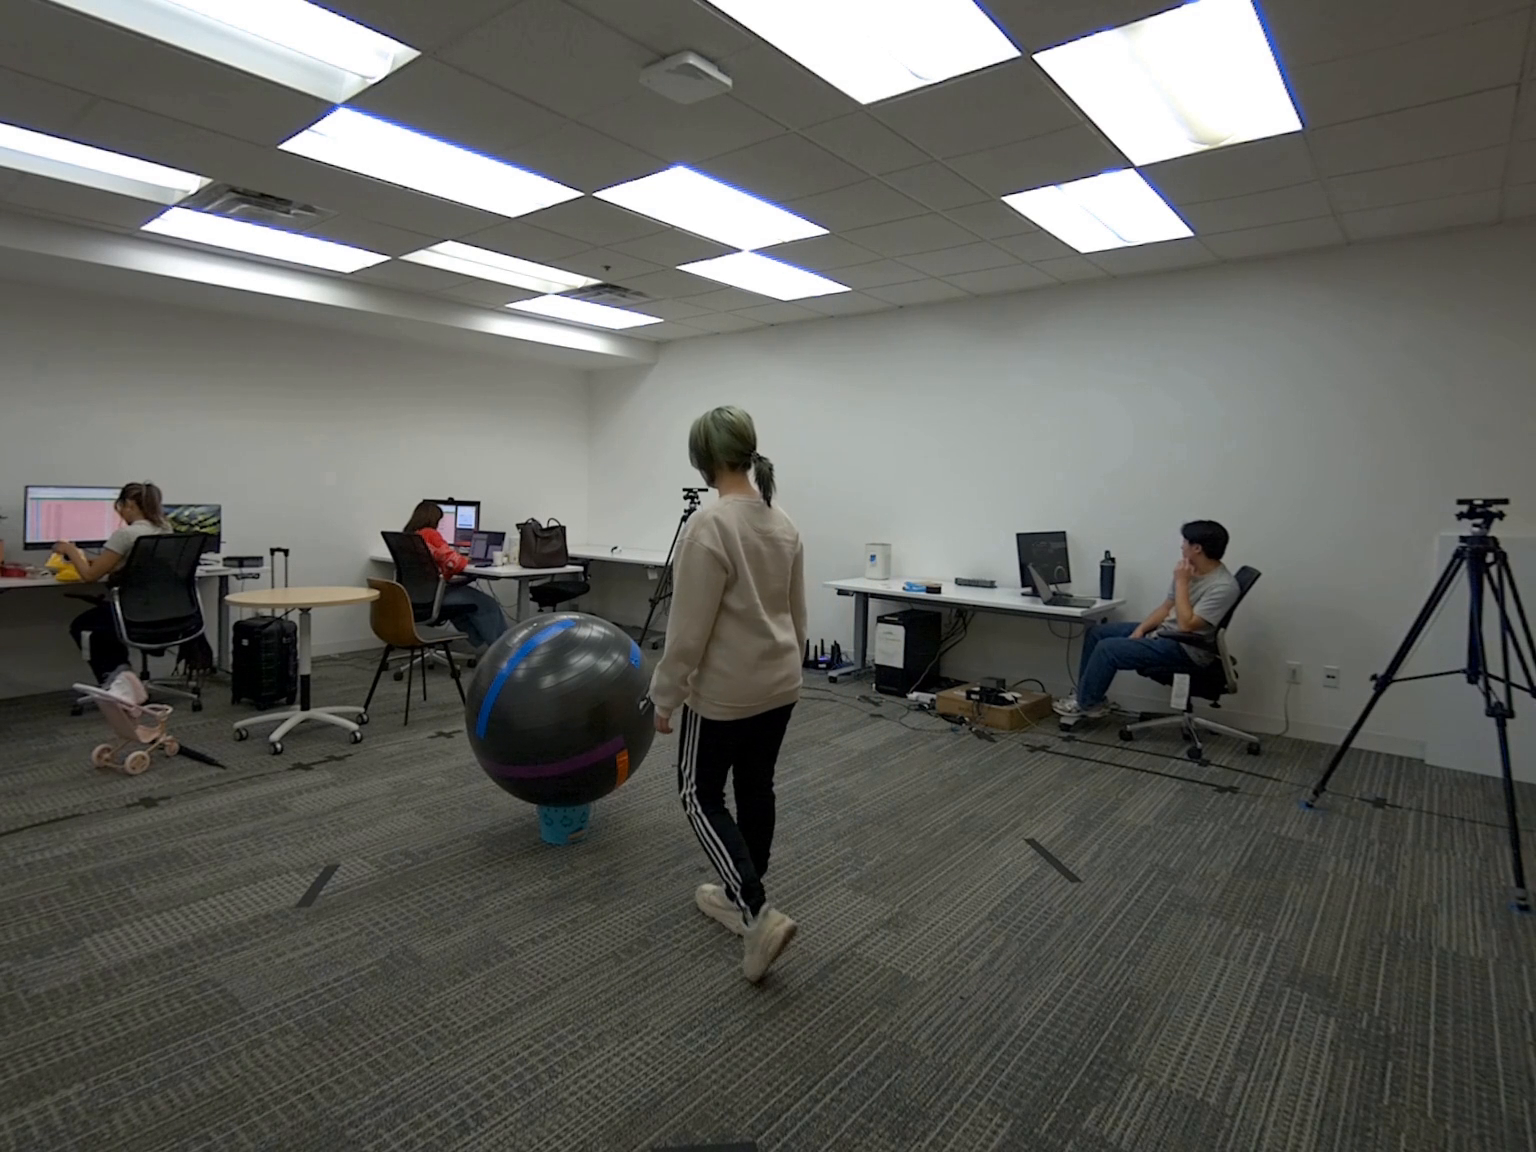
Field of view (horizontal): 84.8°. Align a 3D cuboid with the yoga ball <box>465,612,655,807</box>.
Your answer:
[{"bbox_3d":[-0.818,0.521,3.371,0.757,0.755,0.762,1,4,-2],"label":"yoga ball"}]
